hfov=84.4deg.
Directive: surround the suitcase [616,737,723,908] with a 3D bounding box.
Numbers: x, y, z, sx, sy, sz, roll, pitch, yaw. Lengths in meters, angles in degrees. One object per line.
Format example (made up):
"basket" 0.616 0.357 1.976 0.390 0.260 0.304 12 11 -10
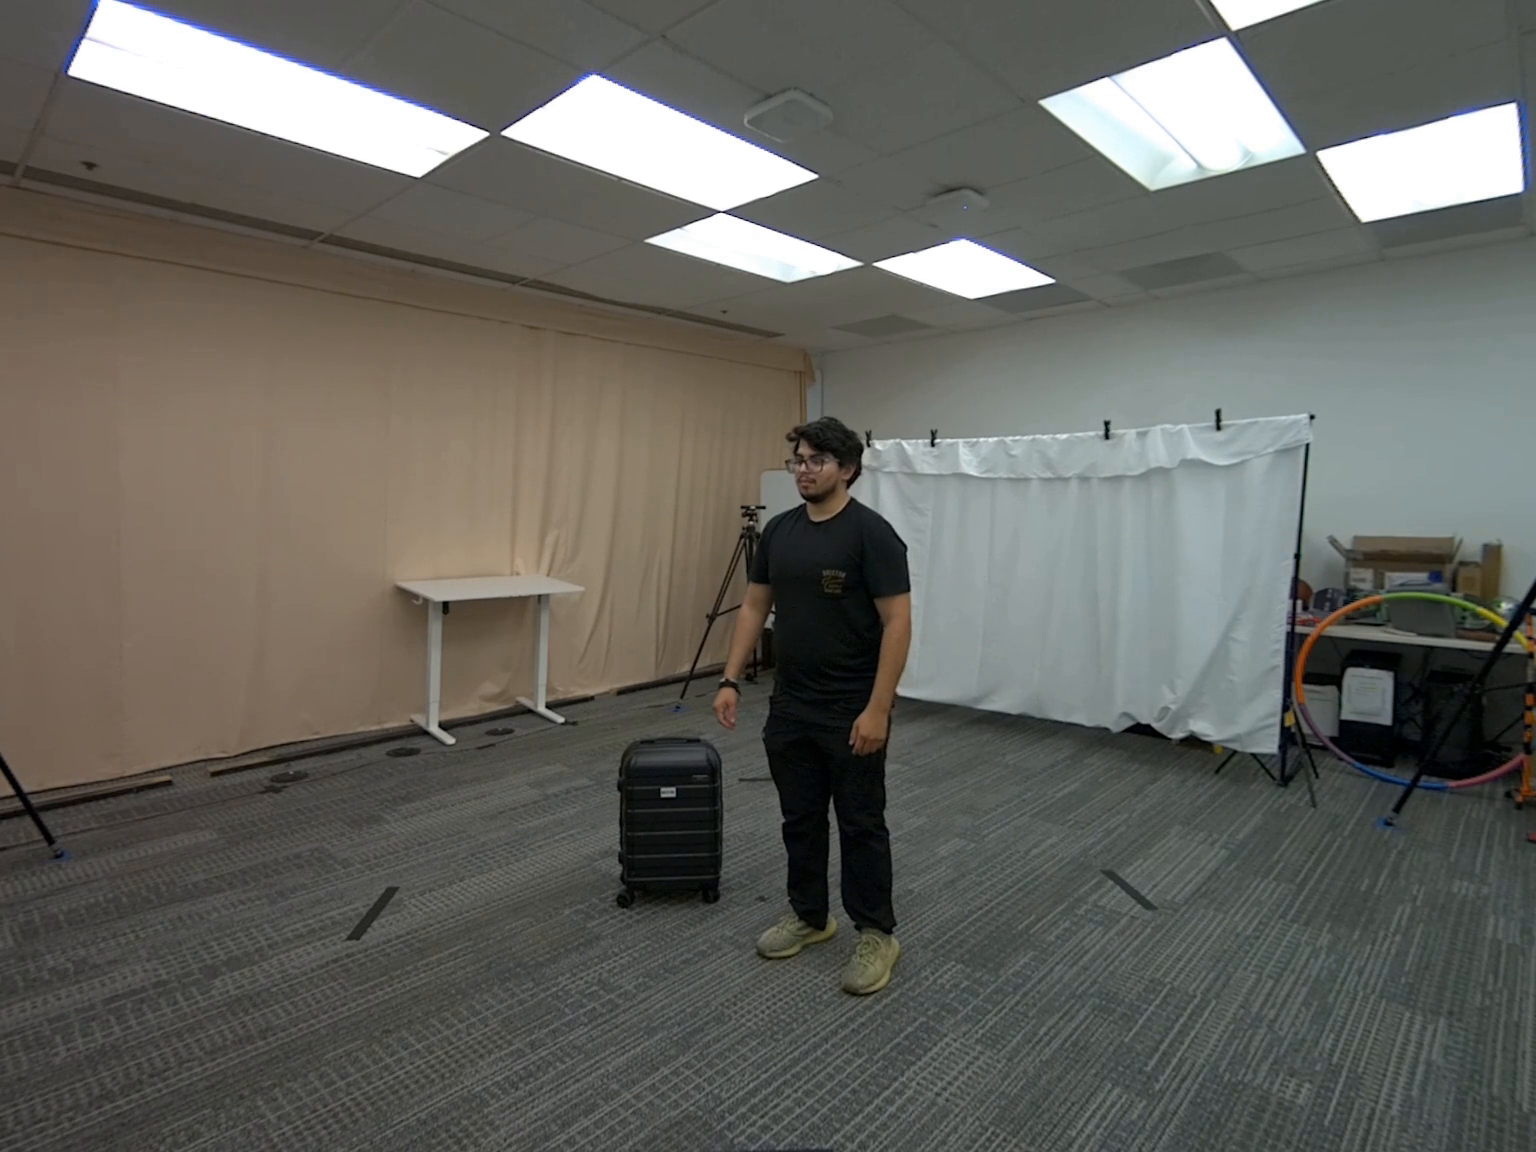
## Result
"suitcase" -0.348 0.865 3.028 0.374 0.548 0.250 0 4 -5
